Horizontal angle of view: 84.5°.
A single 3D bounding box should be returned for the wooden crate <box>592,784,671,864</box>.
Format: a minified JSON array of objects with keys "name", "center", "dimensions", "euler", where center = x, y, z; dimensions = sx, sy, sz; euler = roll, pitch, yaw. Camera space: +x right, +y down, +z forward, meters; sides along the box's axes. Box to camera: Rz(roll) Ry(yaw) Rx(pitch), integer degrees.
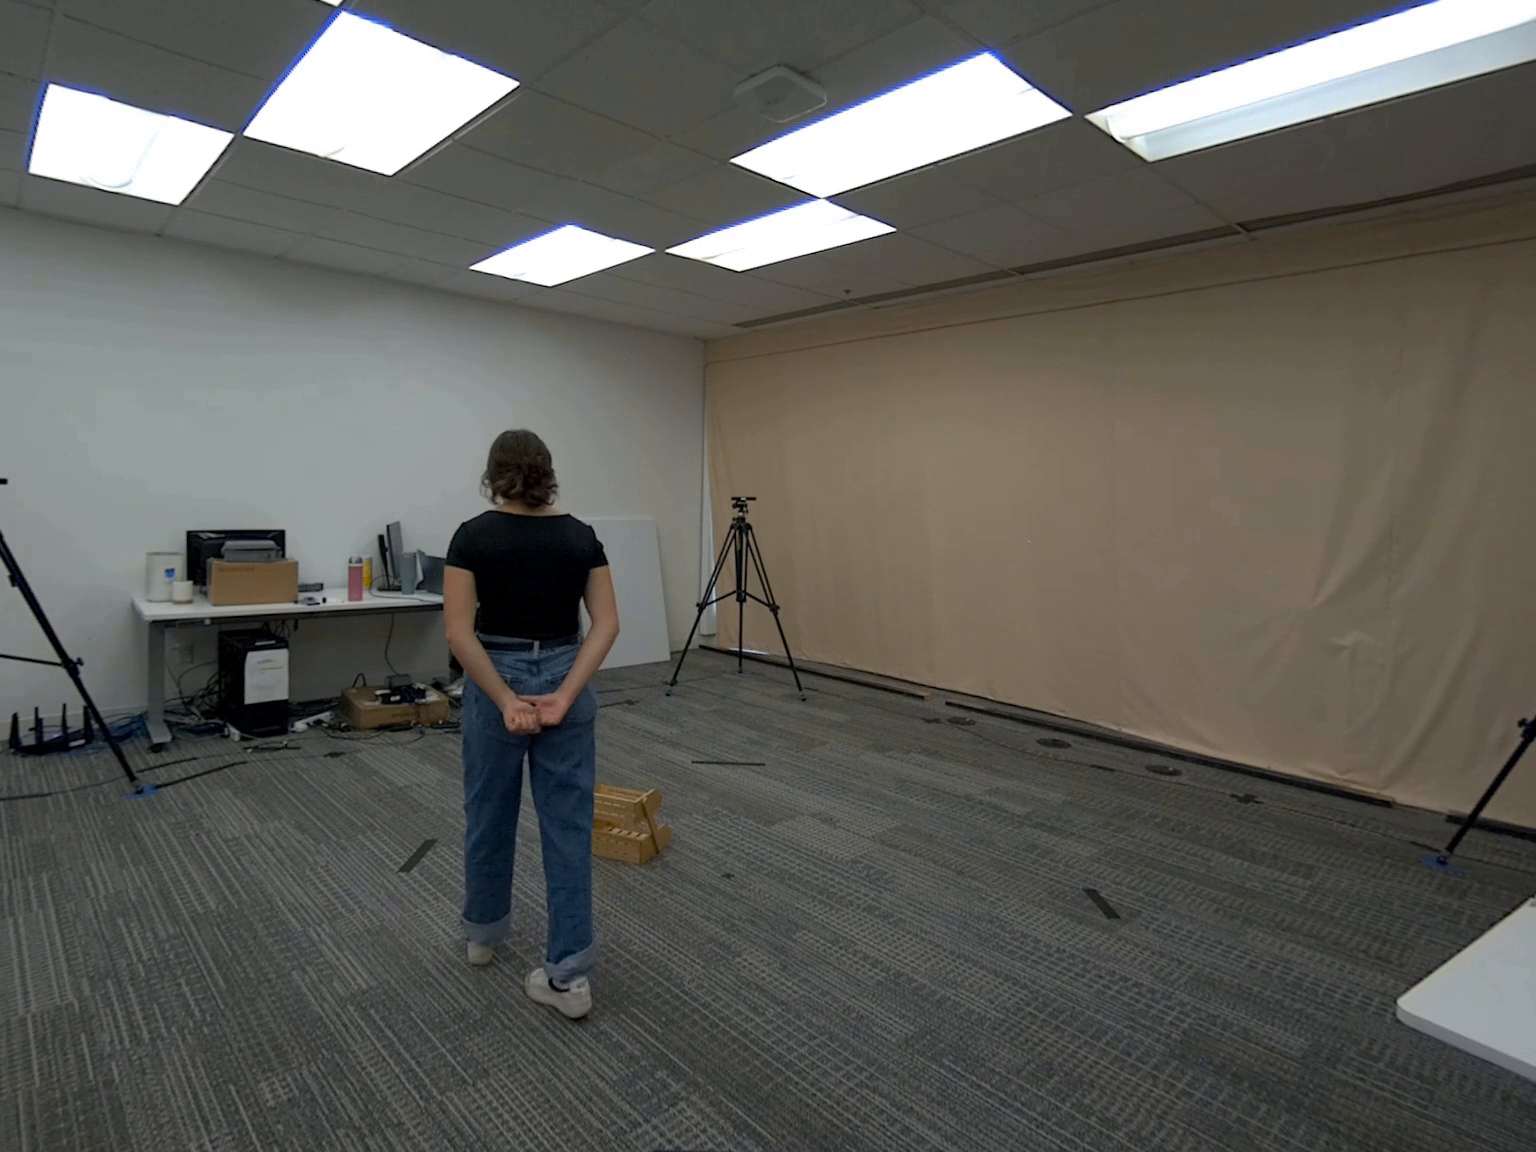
[{"name":"wooden crate","center":[-0.584,0.945,3.328],"dimensions":[0.330,0.272,0.297],"euler":[3,4,23]}]
